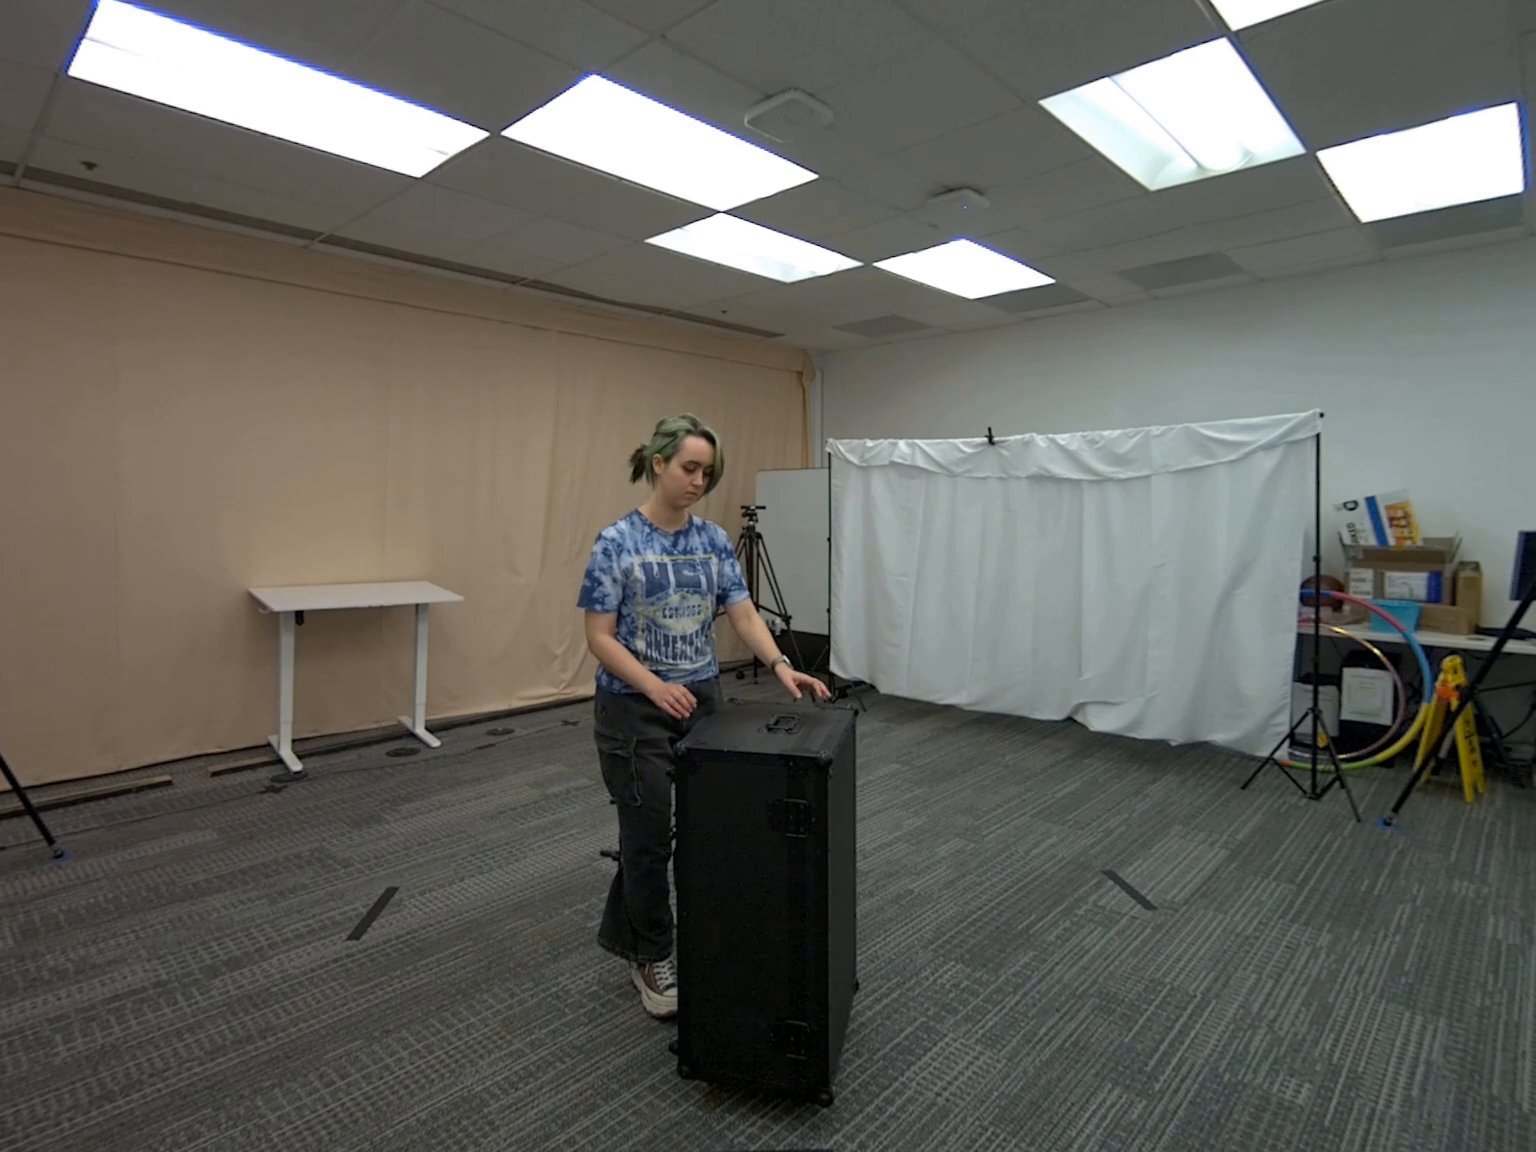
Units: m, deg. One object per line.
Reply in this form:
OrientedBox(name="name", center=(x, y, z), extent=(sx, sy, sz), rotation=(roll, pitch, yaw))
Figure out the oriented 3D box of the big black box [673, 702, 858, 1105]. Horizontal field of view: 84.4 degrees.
OrientedBox(name="big black box", center=(0.012, 0.795, 2.099), extent=(0.403, 0.859, 0.514), rotation=(0, 4, 15))
